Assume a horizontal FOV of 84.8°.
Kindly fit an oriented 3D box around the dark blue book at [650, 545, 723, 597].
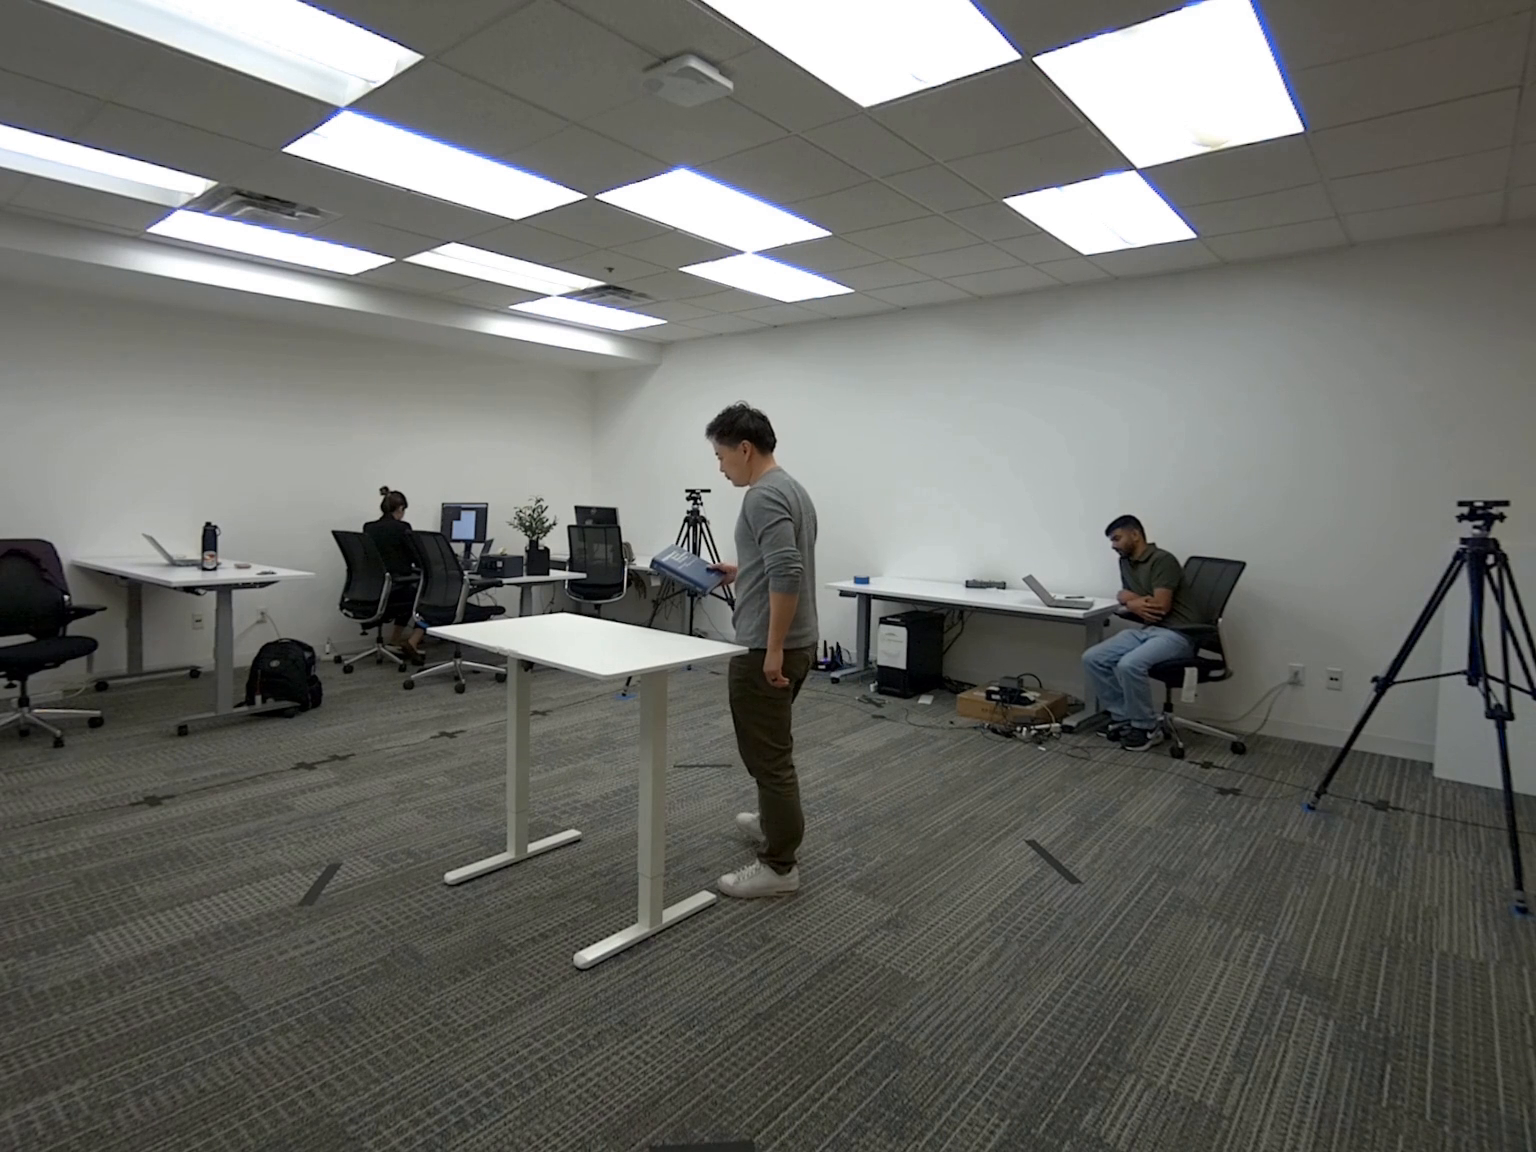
[{"bbox_3d":[-0.306,-0.024,3.210,0.251,0.044,0.162,26,32,16],"label":"dark blue book"}]
